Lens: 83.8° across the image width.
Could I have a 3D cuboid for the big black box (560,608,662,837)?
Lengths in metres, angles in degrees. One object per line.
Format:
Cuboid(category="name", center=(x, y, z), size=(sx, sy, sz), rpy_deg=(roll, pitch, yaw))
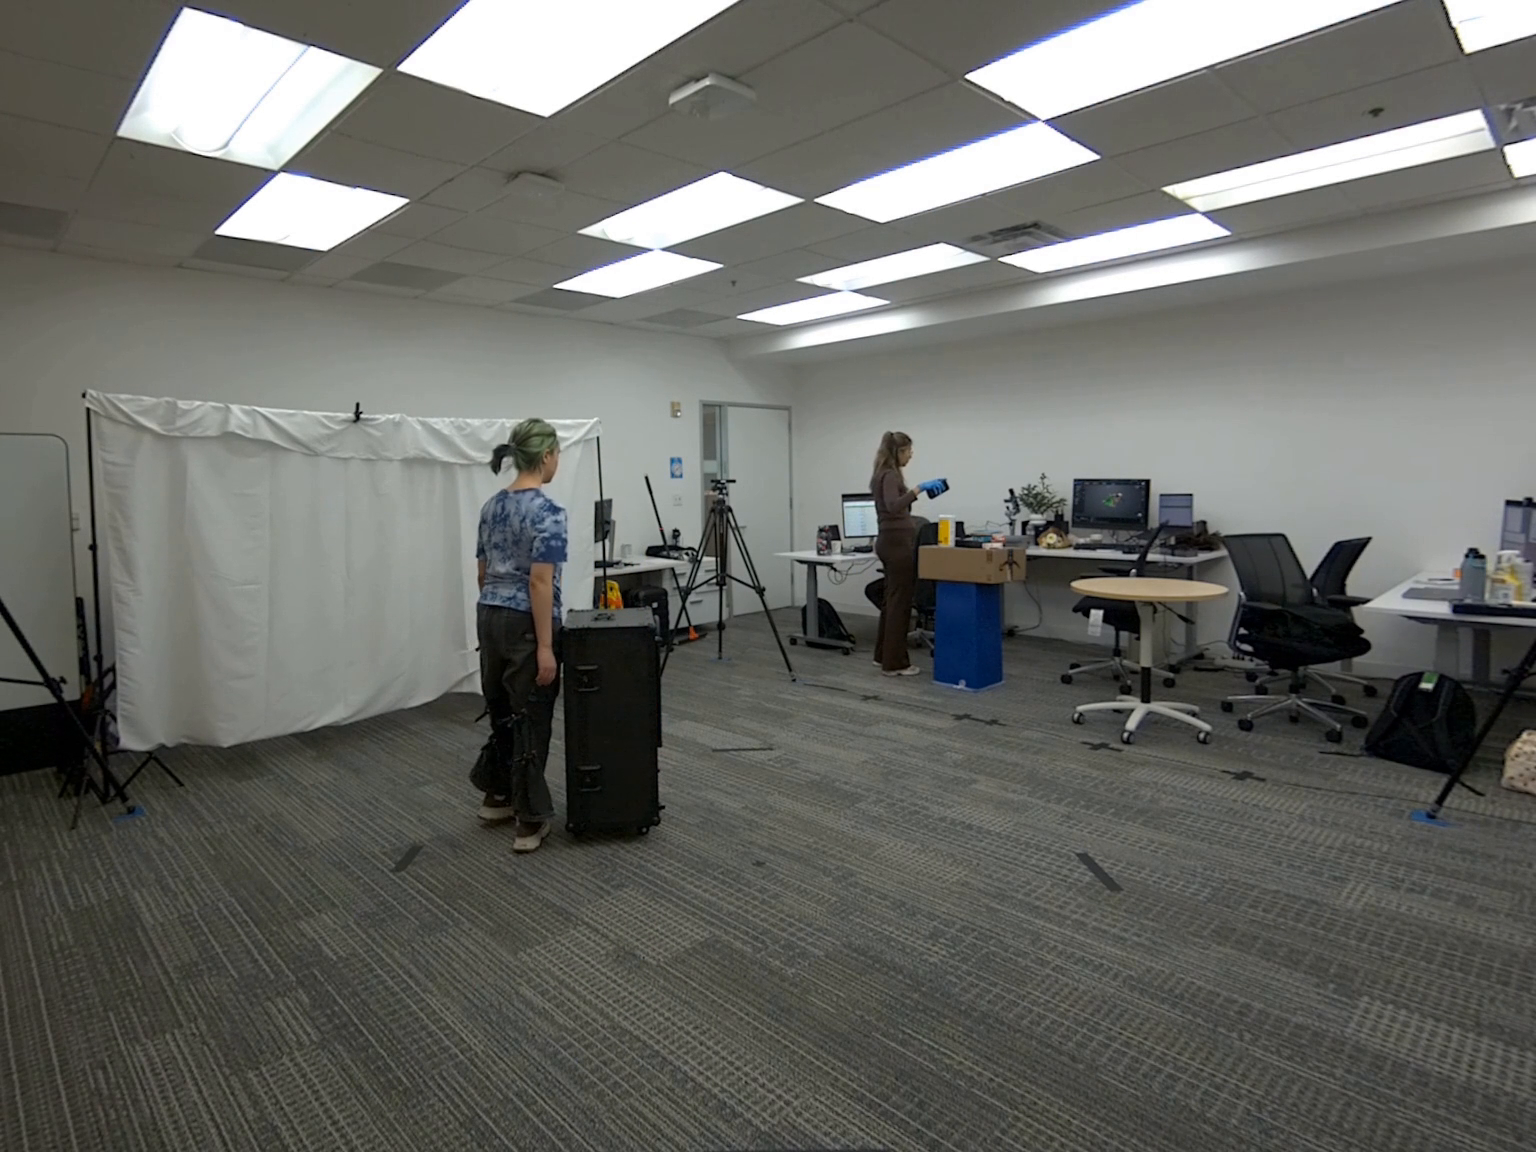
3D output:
Cuboid(category="big black box", center=(-0.633, 0.593, 3.497), size=(0.394, 0.859, 0.526), rpy_deg=(-1, 4, -8))
